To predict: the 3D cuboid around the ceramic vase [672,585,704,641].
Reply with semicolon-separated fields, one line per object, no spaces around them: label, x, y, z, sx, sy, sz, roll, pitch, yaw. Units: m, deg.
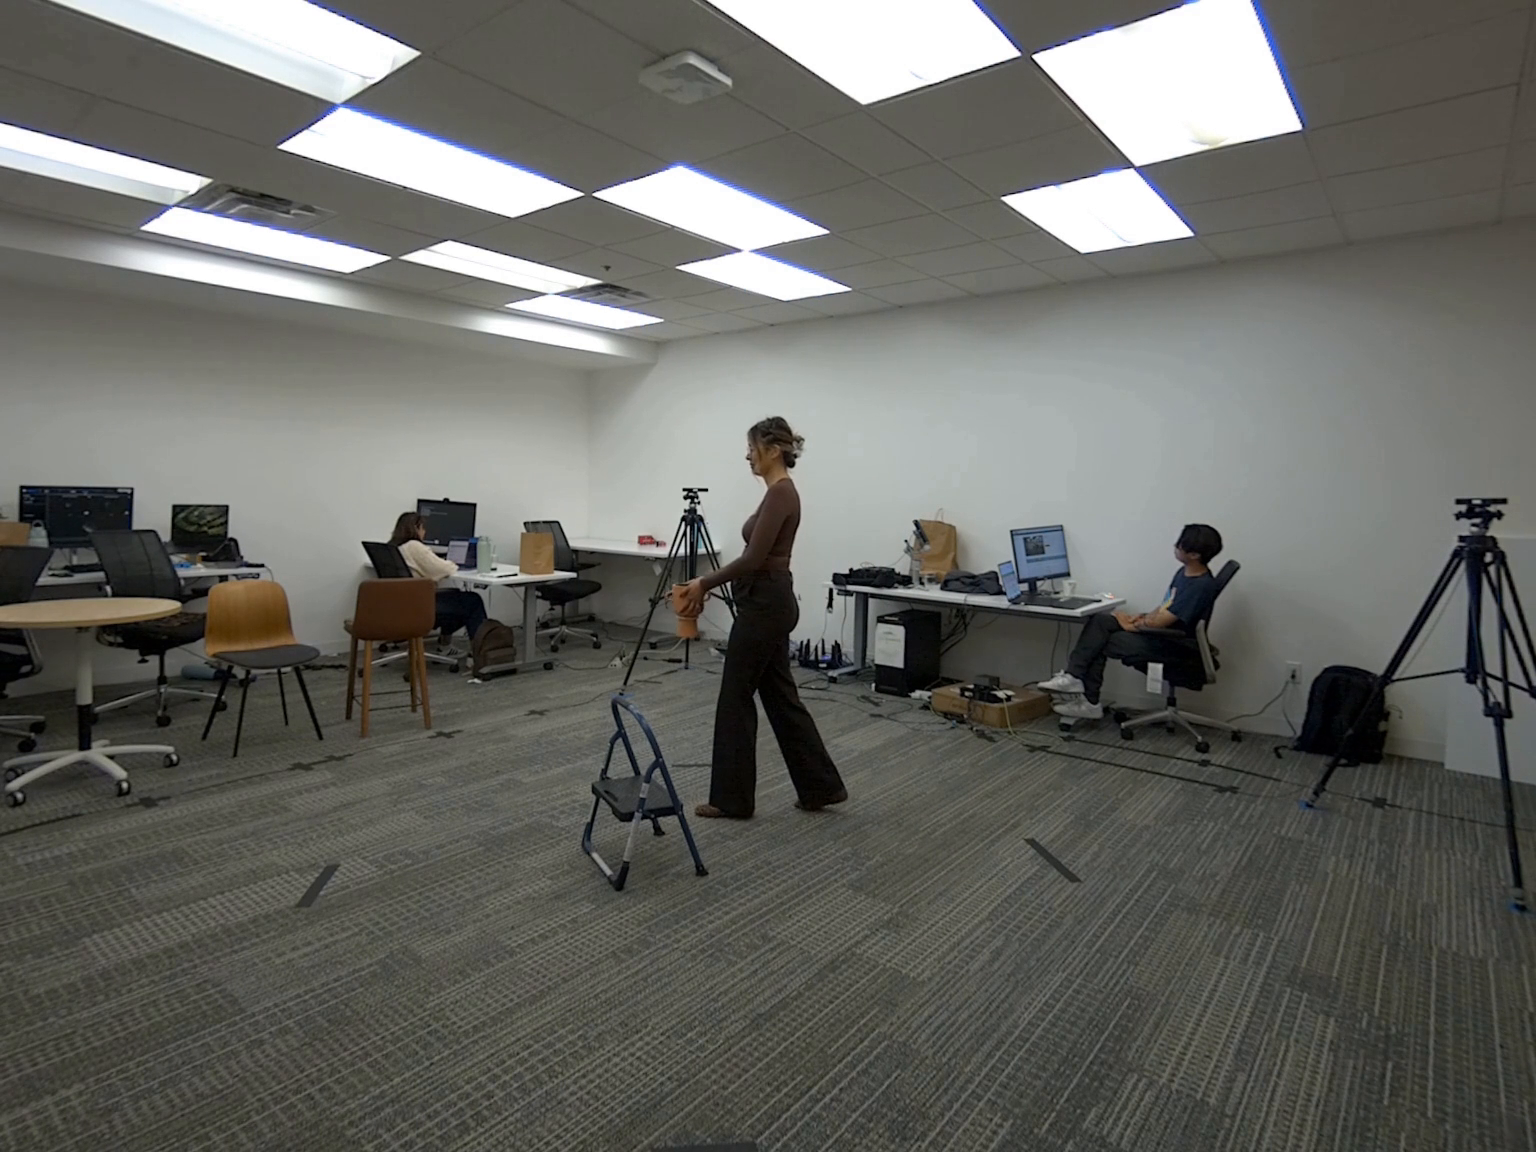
ceramic vase;-0.360;0.144;3.660;0.162;0.219;0.132;4;6;21
